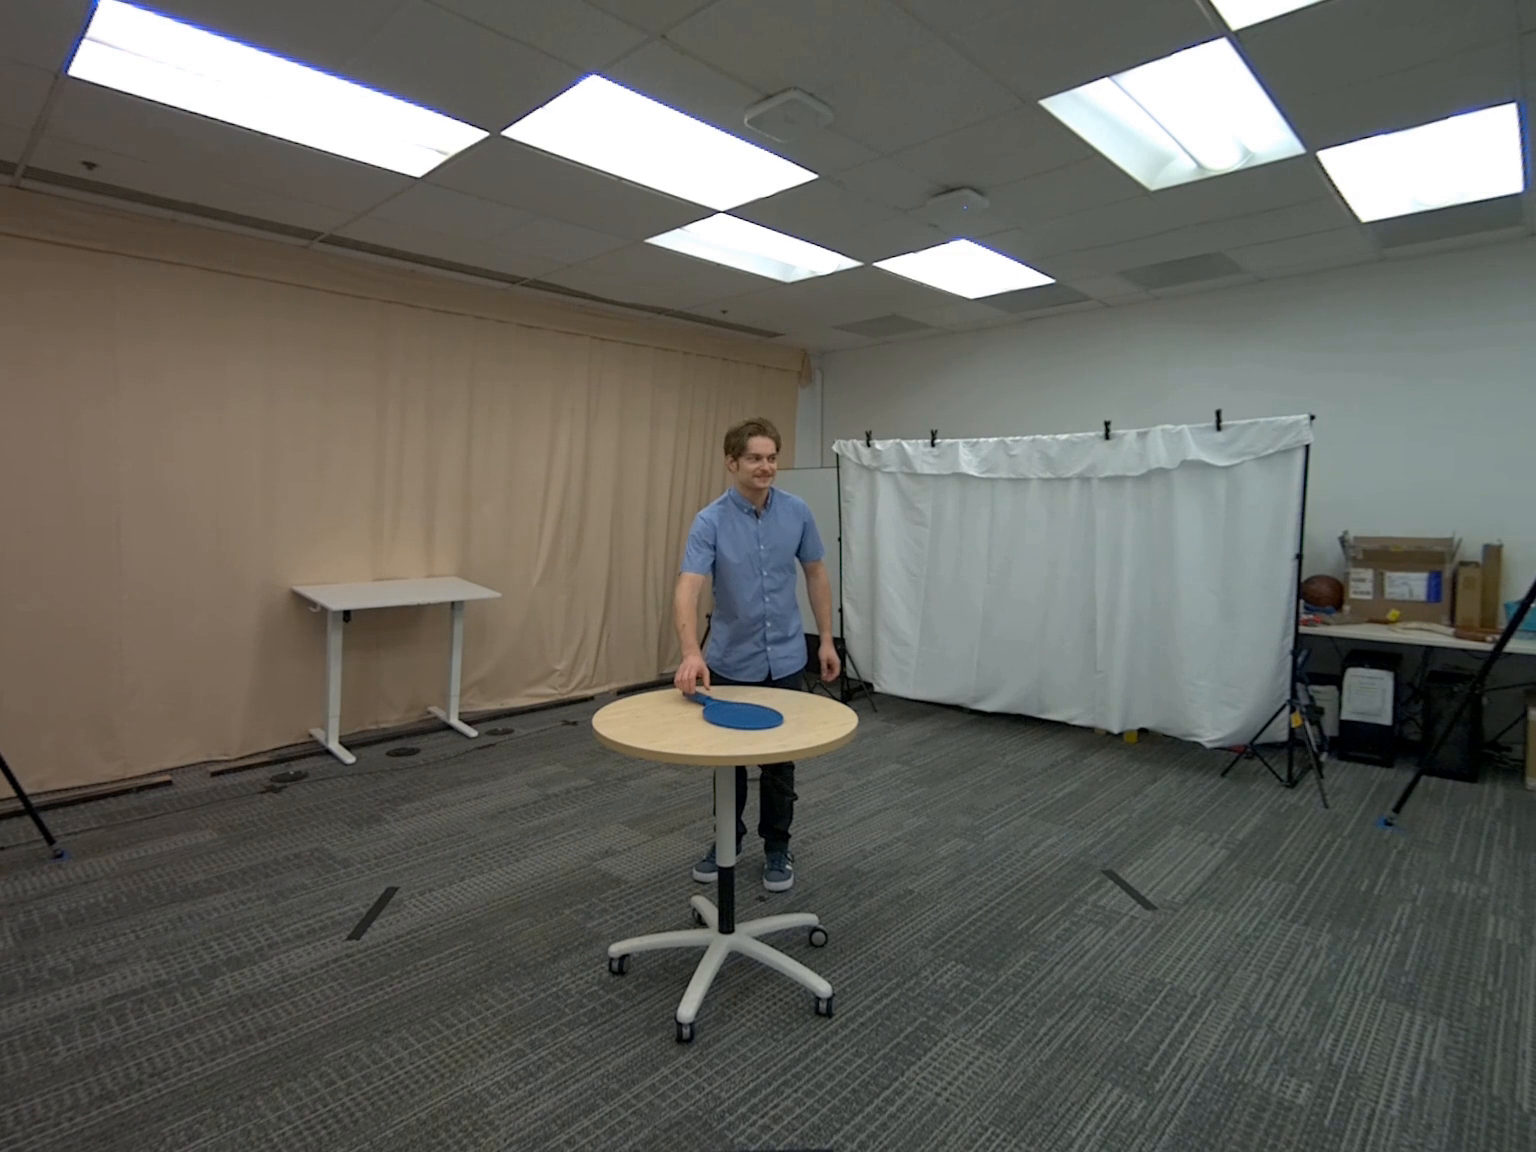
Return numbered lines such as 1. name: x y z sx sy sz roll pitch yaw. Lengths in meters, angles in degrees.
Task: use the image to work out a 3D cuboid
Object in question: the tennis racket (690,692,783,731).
1. tennis racket: -0.123 0.391 2.475 0.207 0.031 0.447 -5 9 -37
